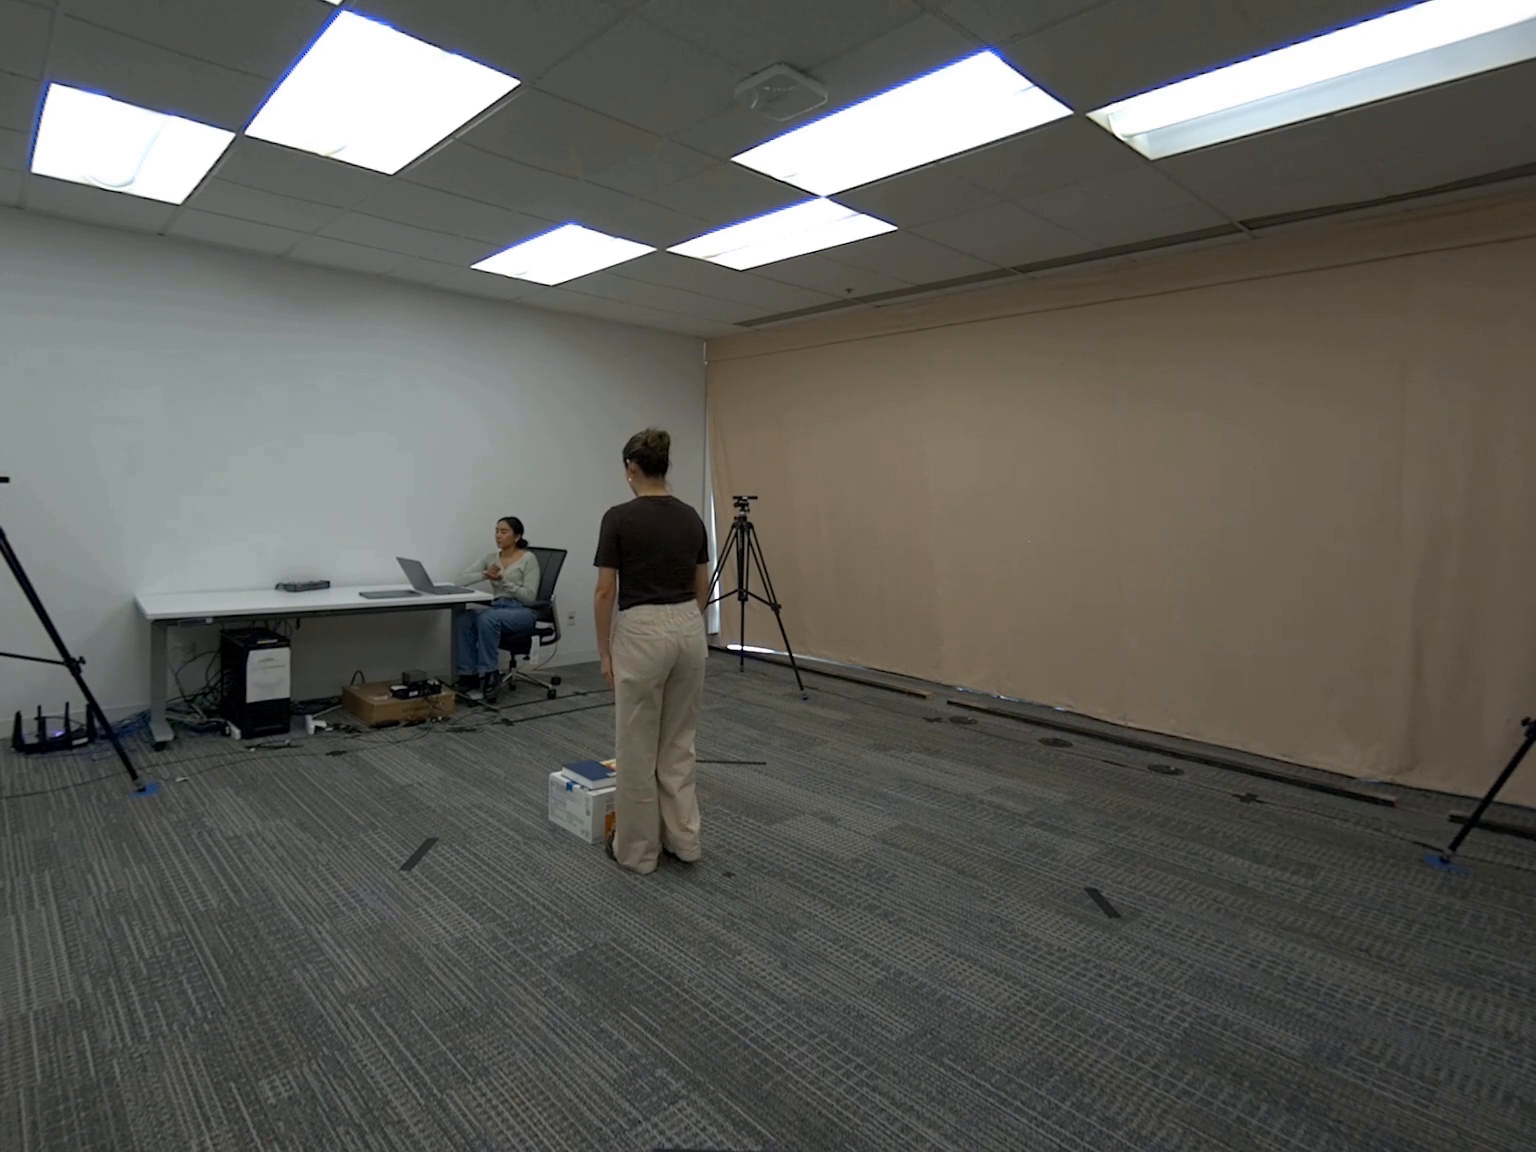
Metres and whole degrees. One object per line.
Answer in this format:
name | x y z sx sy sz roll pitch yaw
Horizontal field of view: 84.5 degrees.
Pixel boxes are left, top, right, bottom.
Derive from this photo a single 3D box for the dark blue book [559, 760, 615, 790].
dark blue book | -0.738 0.830 3.520 0.159 0.045 0.251 0 5 -44
